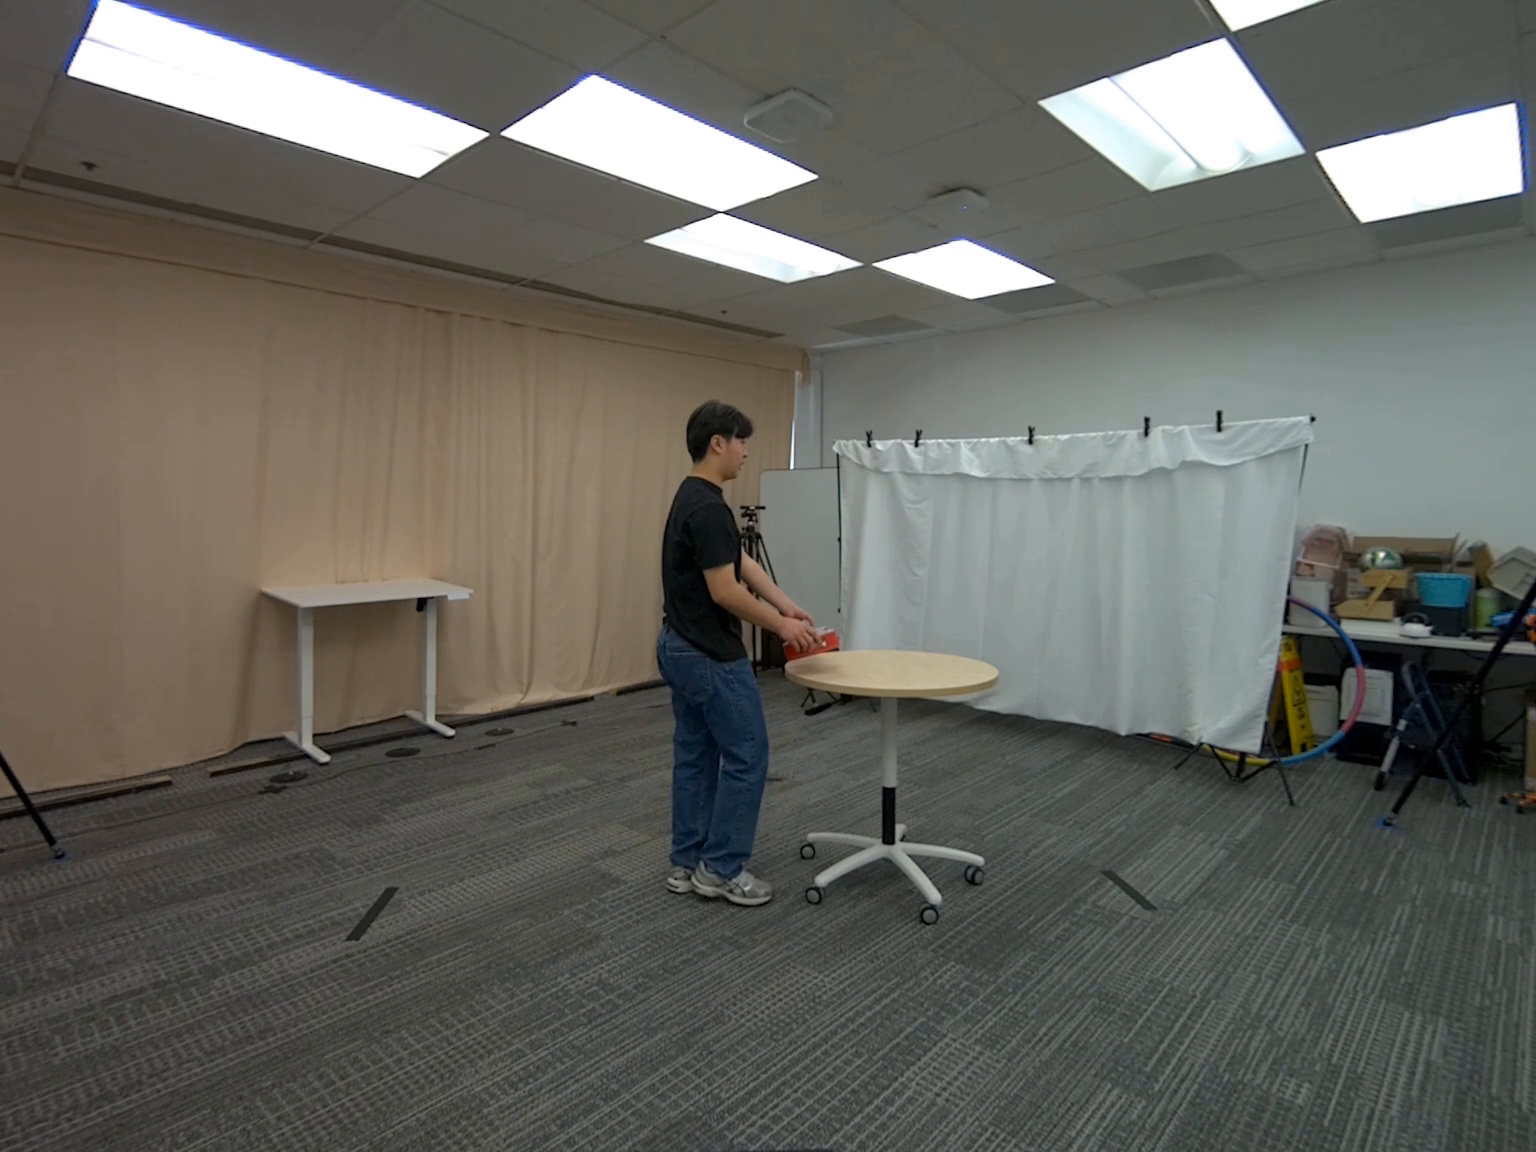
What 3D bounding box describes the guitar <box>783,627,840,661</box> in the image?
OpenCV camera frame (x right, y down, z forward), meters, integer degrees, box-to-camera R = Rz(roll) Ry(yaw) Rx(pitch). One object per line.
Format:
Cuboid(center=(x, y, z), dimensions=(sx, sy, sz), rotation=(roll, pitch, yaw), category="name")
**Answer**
Cuboid(center=(0.190, 0.224, 3.157), dimensions=(0.195, 0.070, 0.492), rotation=(-13, 3, 12), category="guitar")
